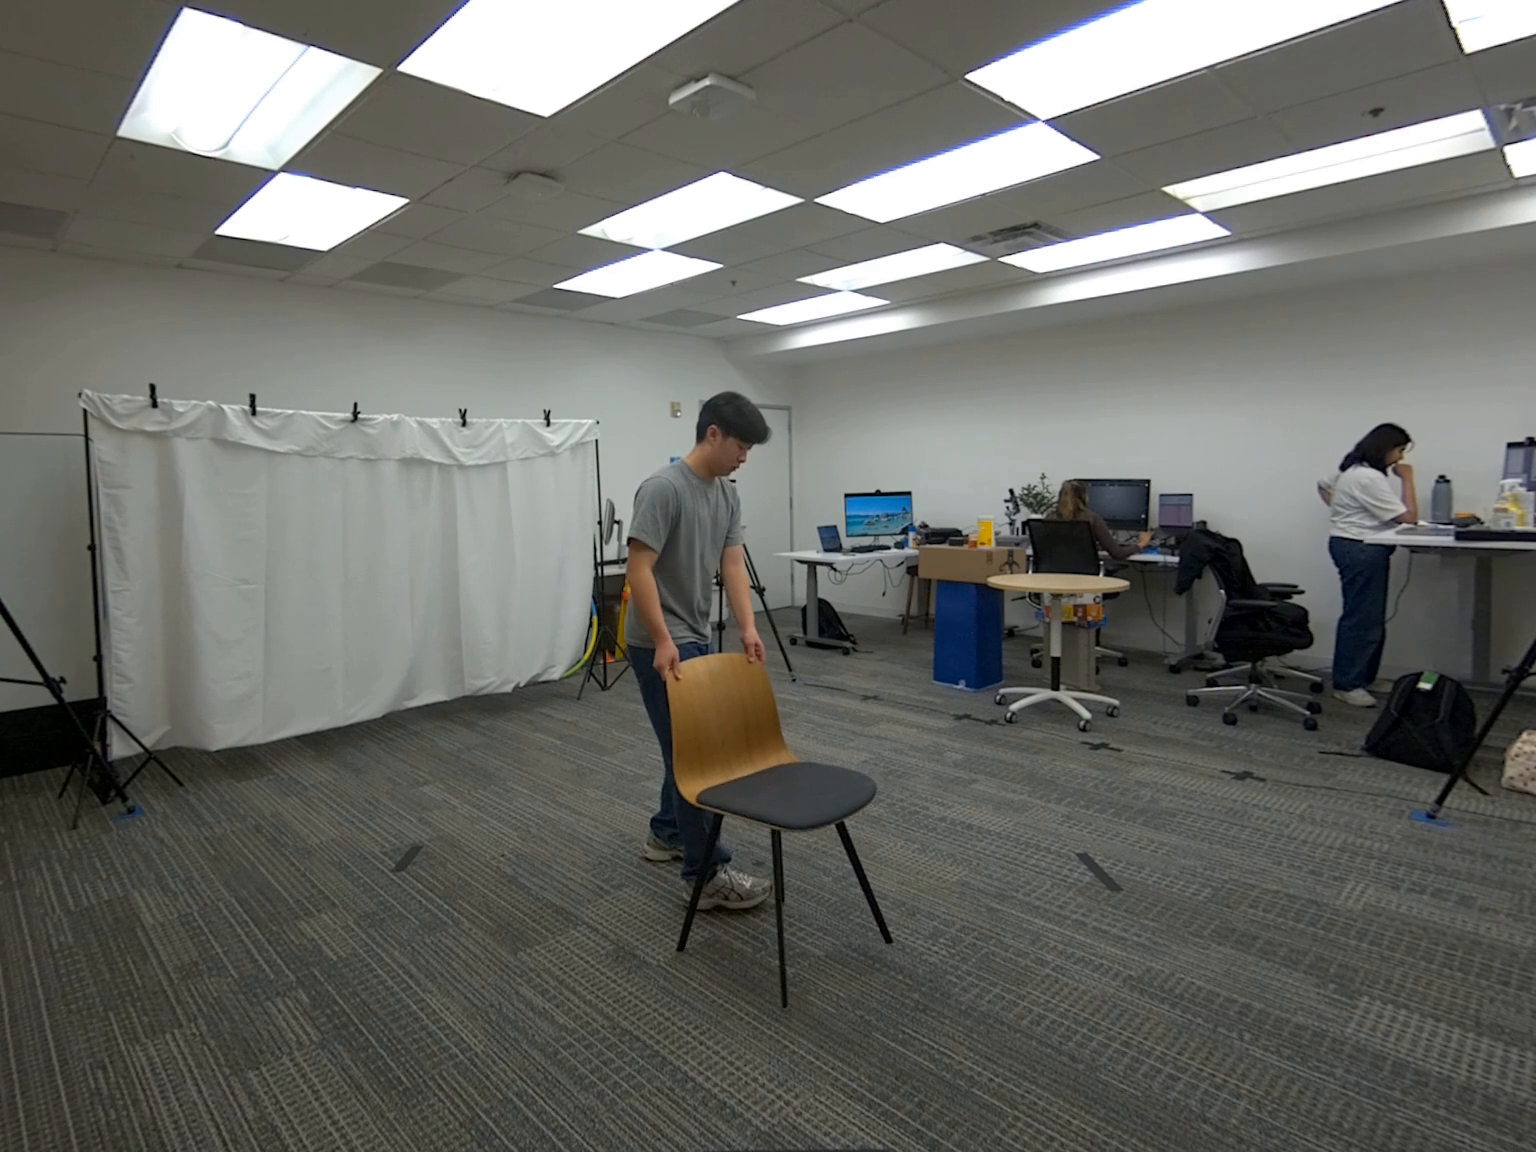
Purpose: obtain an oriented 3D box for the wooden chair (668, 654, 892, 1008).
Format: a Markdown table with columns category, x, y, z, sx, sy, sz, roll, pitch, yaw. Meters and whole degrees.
| category | x | y | z | sx | sy | sz | roll | pitch | yaw |
| --- | --- | --- | --- | --- | --- | --- | --- | --- | --- |
| wooden chair | 0.028 | 0.671 | 2.504 | 0.465 | 0.880 | 0.535 | -5 | -4 | -43 |
